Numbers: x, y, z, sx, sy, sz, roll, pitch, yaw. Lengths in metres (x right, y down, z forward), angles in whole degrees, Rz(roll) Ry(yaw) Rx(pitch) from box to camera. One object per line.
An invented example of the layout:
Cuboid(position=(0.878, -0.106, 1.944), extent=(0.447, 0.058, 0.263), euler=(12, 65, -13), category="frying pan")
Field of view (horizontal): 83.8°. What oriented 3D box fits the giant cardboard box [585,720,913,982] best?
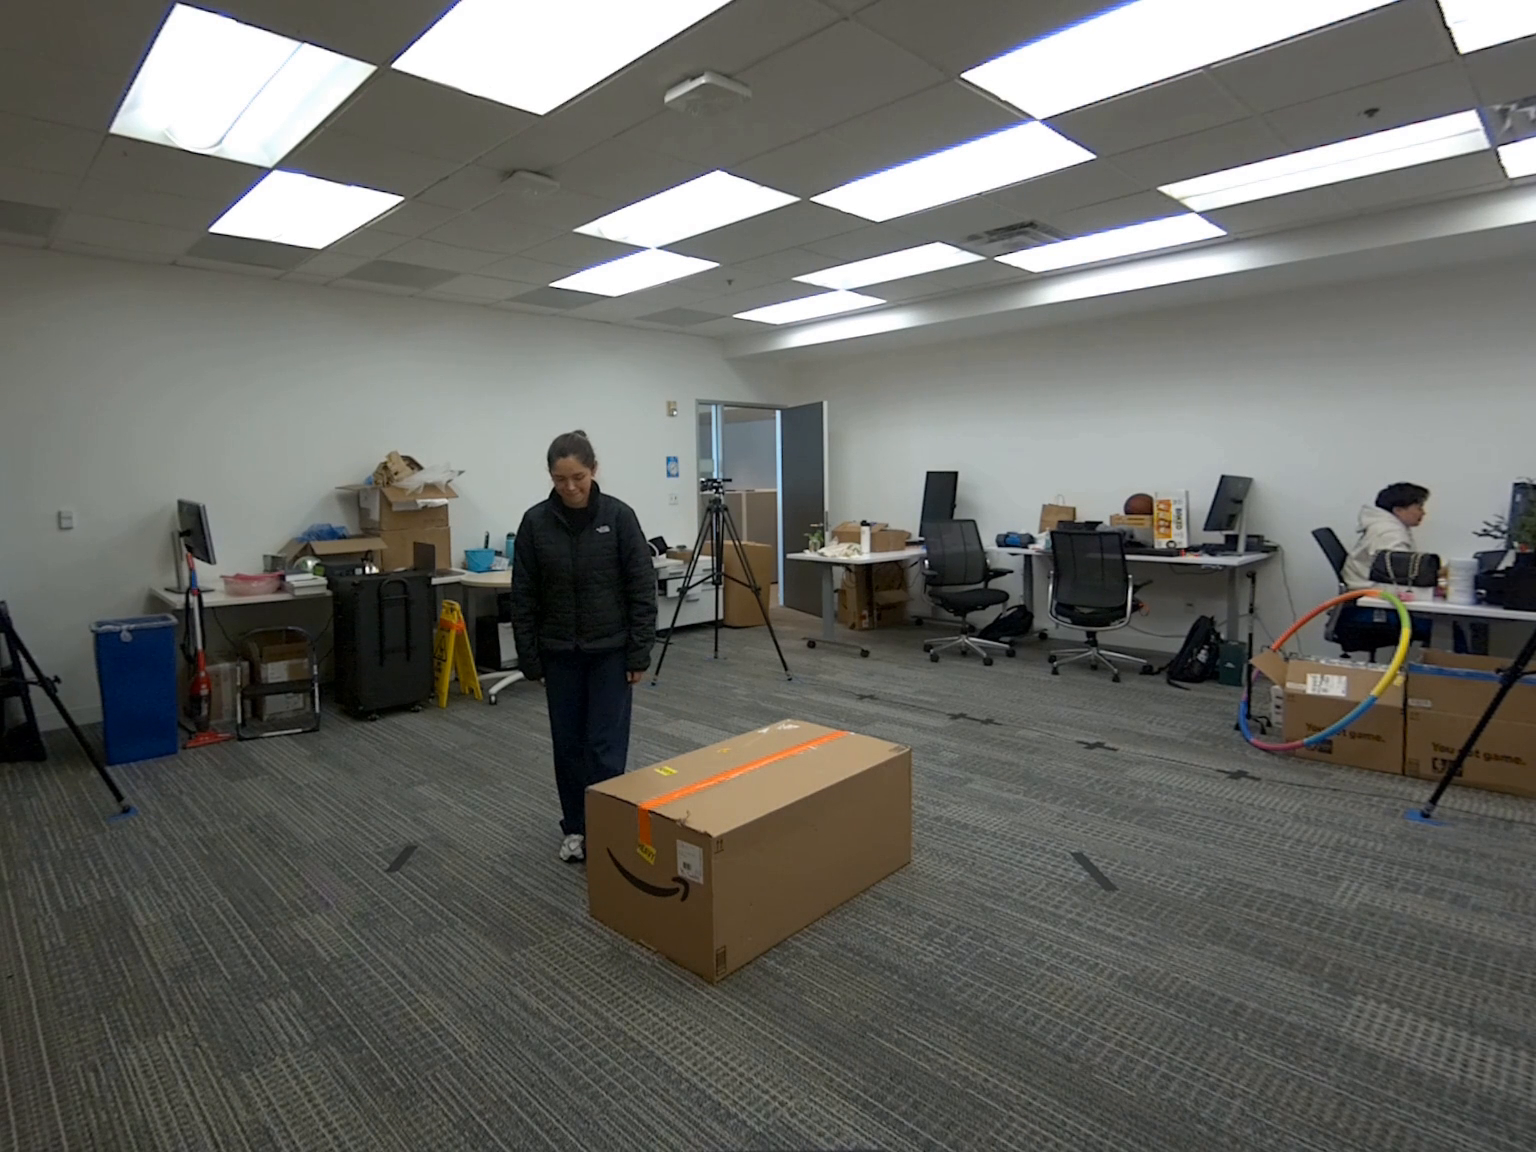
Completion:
Cuboid(position=(-0.032, 0.852, 2.920), extent=(0.595, 0.424, 1.000), euler=(3, 7, 42), category="giant cardboard box")
